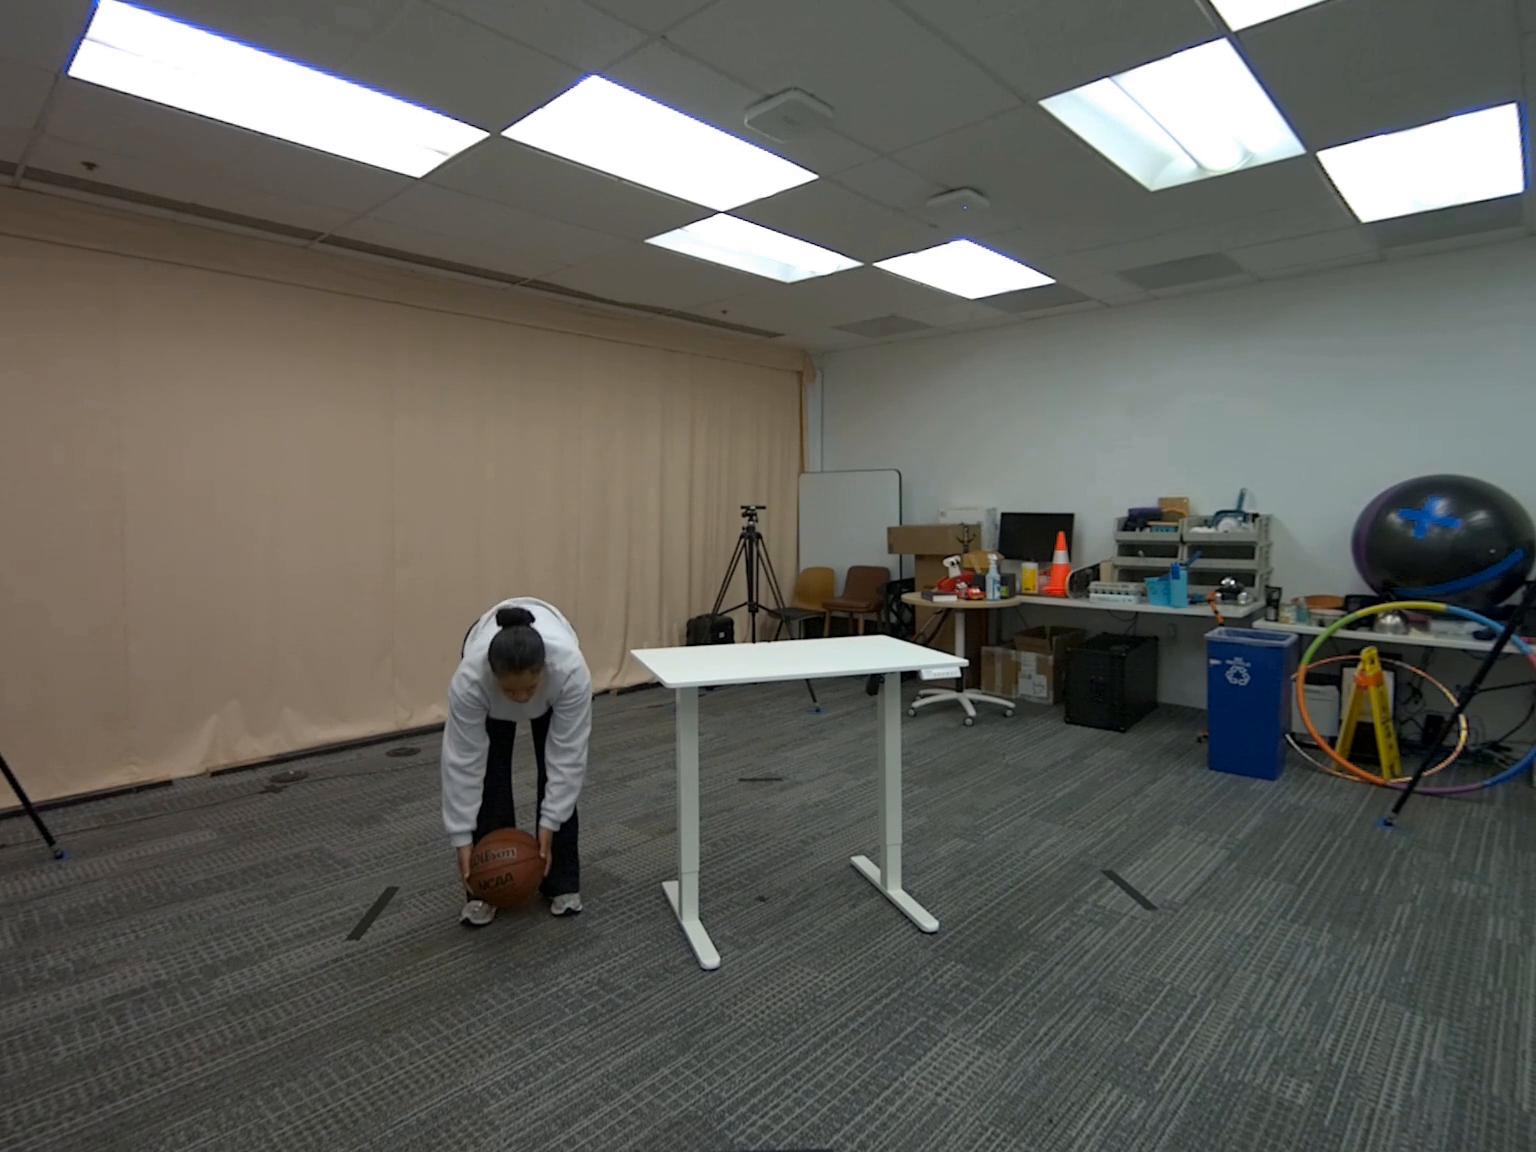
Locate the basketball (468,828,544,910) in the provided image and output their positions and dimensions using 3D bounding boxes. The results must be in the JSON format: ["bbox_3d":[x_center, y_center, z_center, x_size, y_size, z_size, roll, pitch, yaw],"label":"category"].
[{"bbox_3d":[-0.828,0.908,2.673,0.236,0.235,0.237,0,4,-2],"label":"basketball"}]
